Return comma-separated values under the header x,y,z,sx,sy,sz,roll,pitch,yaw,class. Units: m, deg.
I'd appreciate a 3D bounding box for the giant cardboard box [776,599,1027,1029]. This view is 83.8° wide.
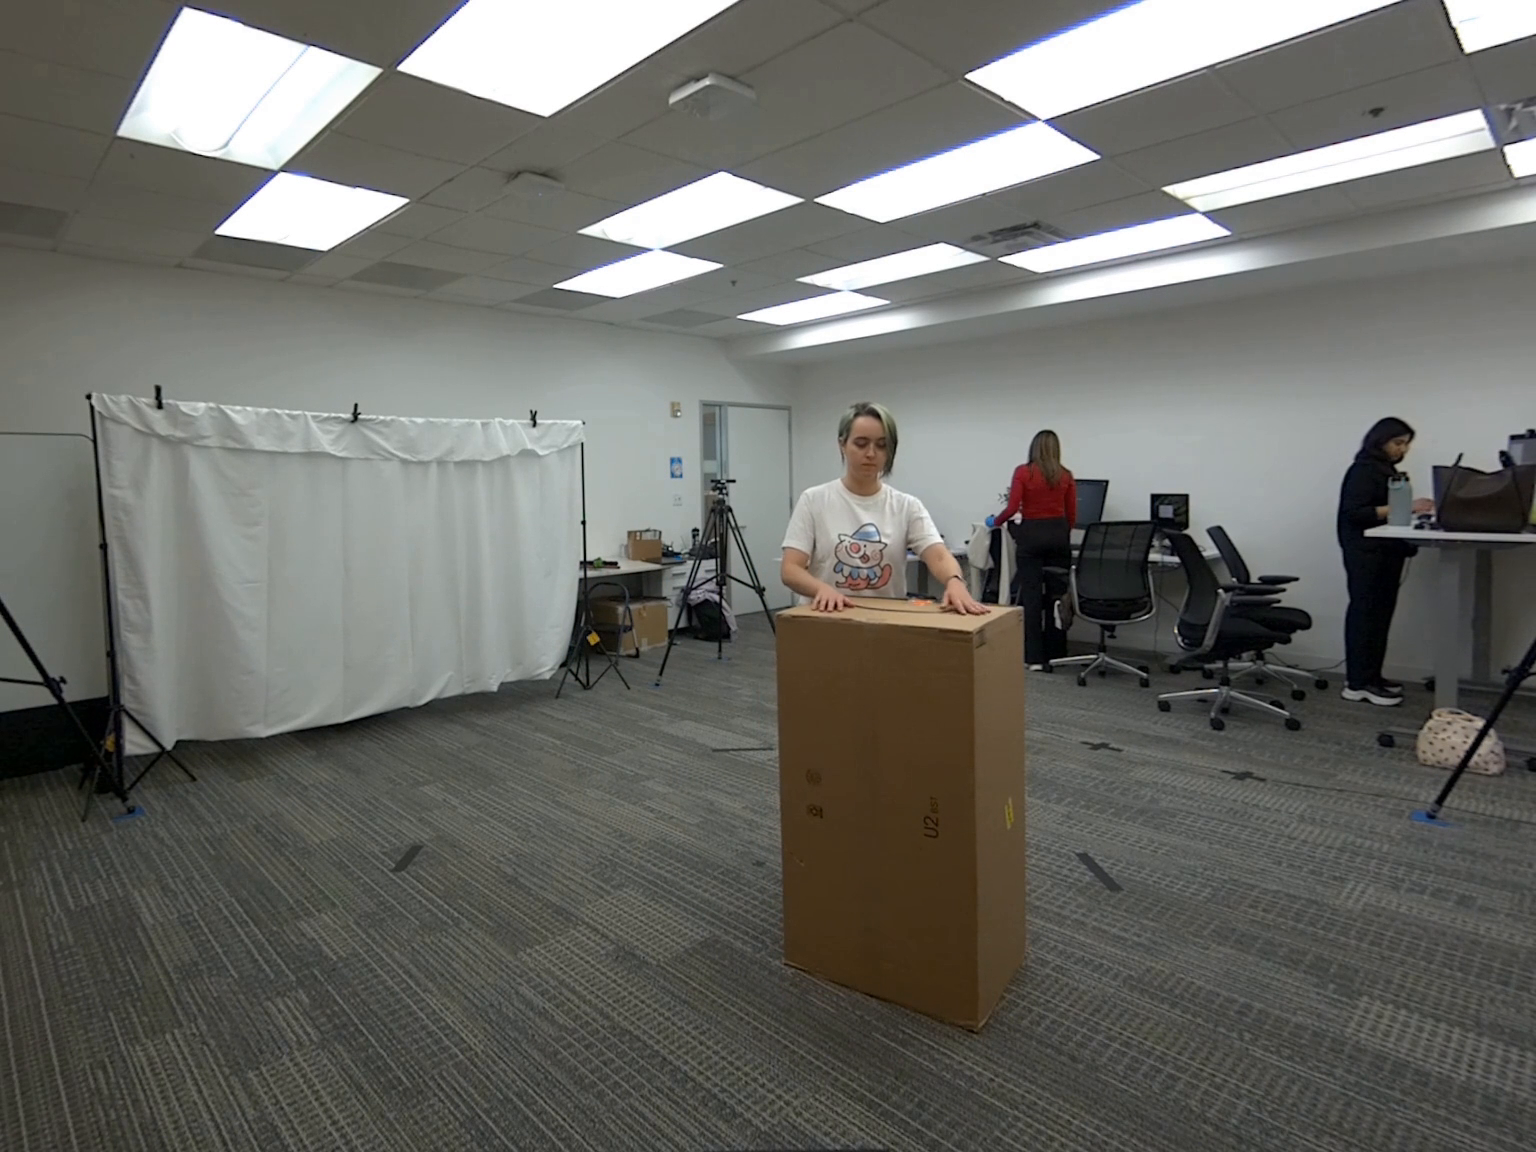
x,y,z,sx,sy,sz,roll,pitch,yaw,class
0.391,0.612,2.439,0.600,1.023,0.436,1,5,33,giant cardboard box
